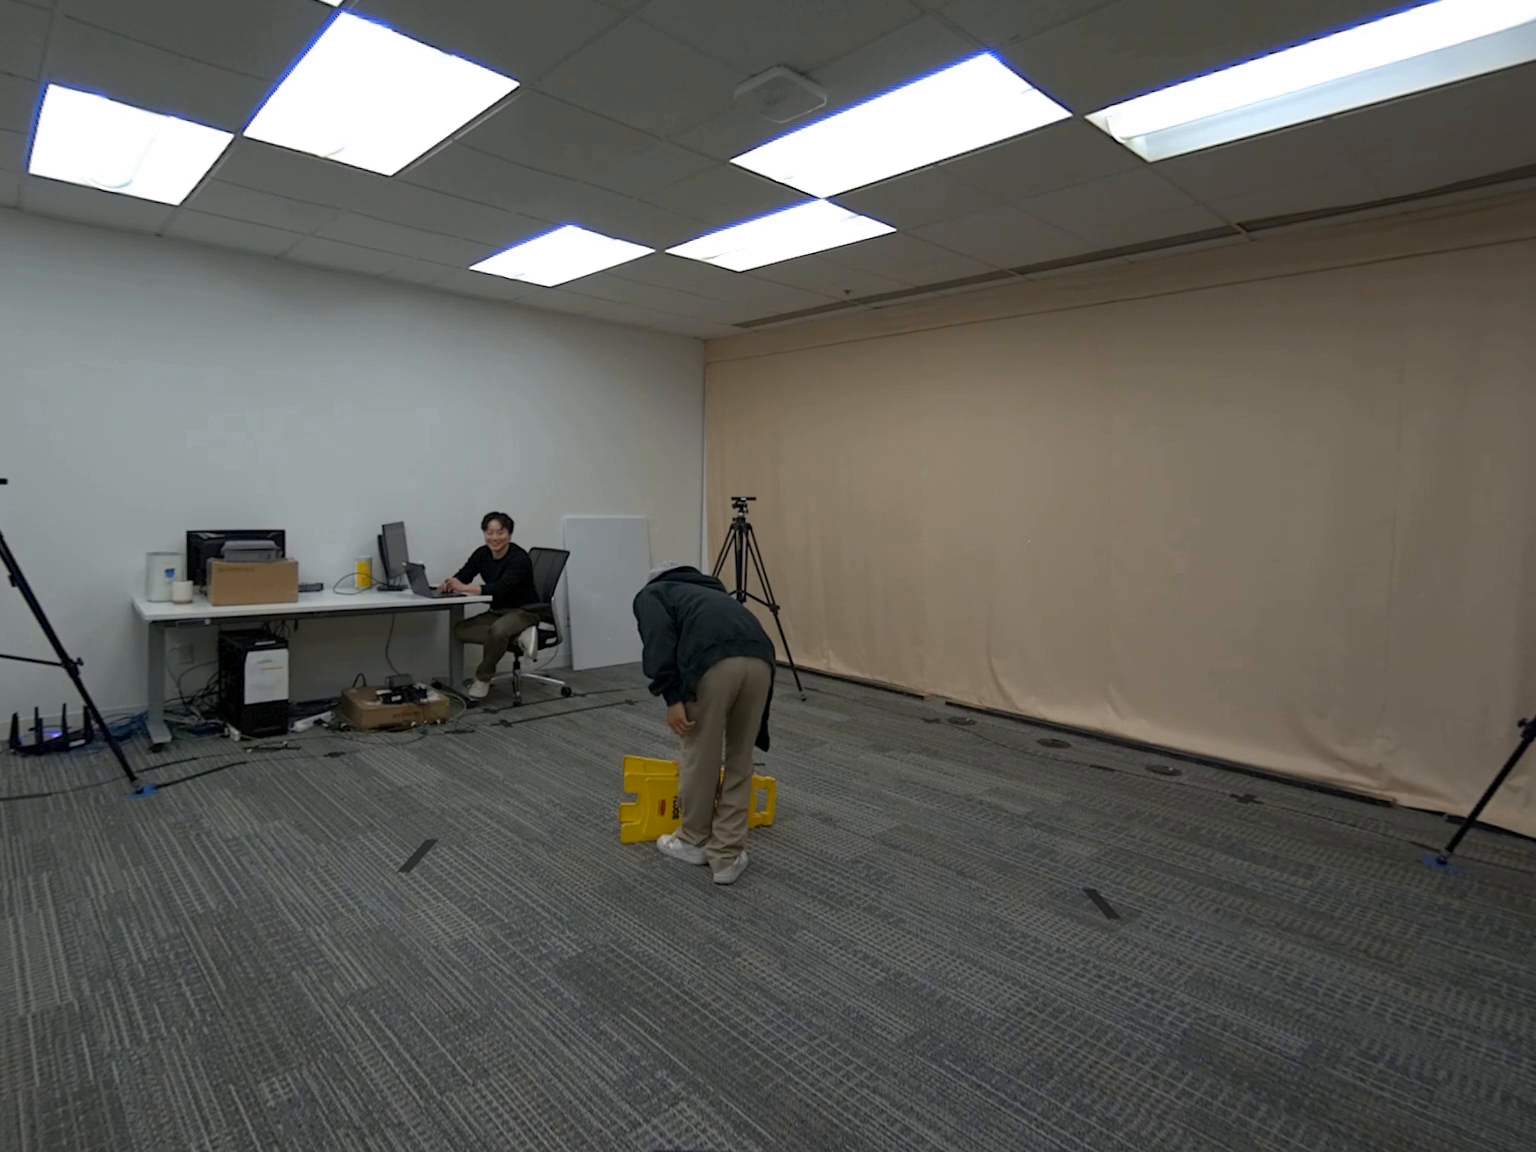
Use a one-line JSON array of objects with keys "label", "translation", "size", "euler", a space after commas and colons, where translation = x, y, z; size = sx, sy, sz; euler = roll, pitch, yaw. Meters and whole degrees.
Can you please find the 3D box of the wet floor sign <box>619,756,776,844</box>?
[{"label": "wet floor sign", "translation": [-0.300, 0.940, 3.555], "size": [0.641, 0.282, 0.292], "euler": [4, 2, -10]}]
